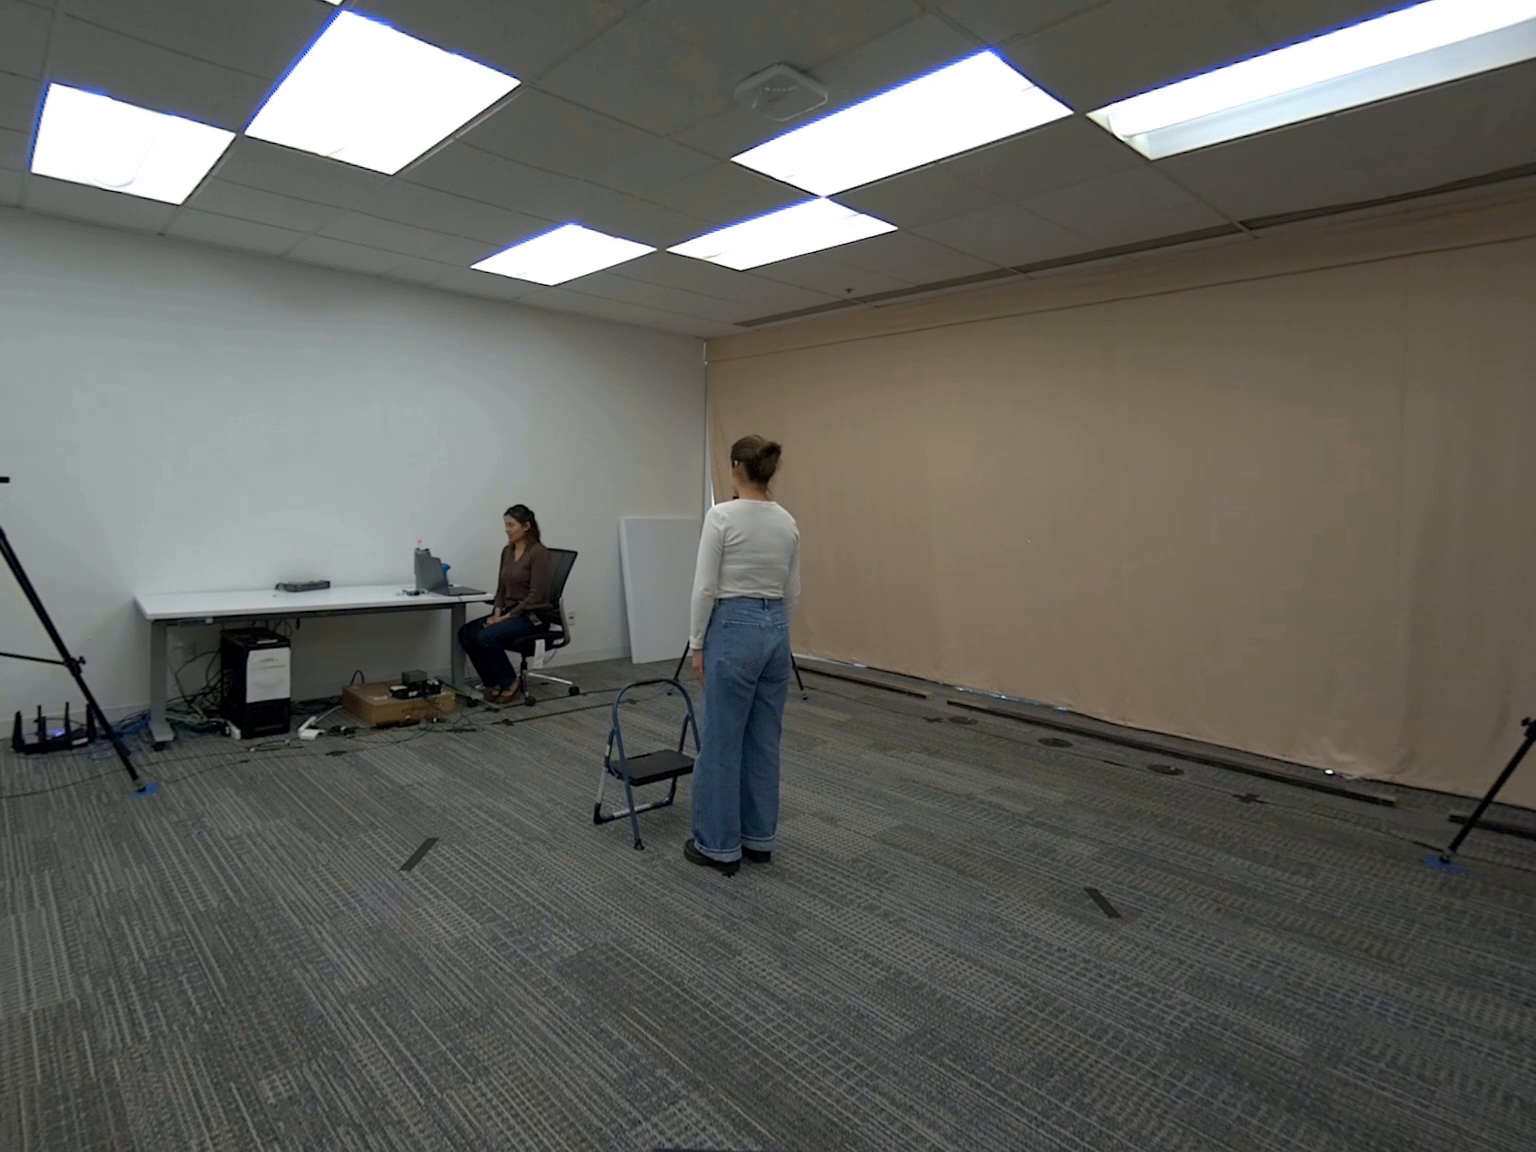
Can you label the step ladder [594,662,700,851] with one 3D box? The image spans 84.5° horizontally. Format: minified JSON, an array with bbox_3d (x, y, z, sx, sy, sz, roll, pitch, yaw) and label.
[{"bbox_3d":[-0.474,0.753,3.555,0.420,0.605,0.358,-1,4,-43],"label":"step ladder"}]
